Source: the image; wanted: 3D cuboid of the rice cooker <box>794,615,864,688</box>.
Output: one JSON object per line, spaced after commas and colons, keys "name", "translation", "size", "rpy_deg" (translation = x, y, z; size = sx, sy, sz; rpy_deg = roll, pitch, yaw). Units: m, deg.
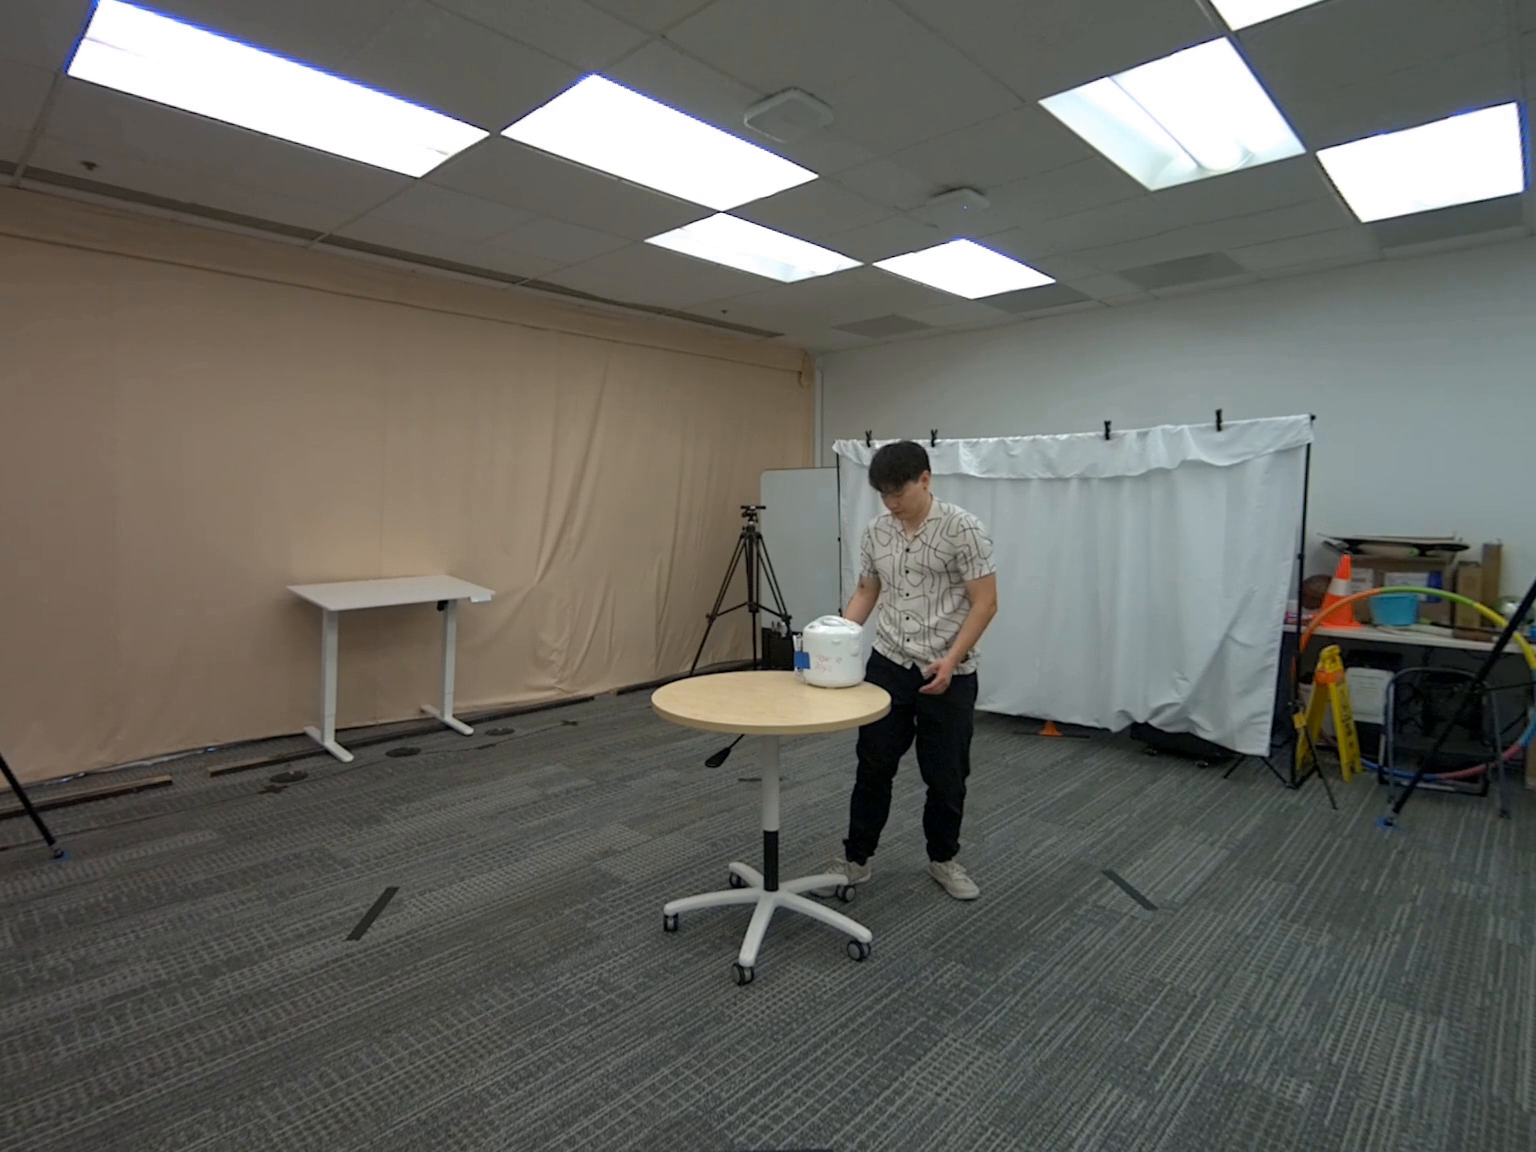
{"name": "rice cooker", "translation": [0.228, 0.253, 2.873], "size": [0.211, 0.232, 0.228], "rpy_deg": [-4, 5, -38]}
